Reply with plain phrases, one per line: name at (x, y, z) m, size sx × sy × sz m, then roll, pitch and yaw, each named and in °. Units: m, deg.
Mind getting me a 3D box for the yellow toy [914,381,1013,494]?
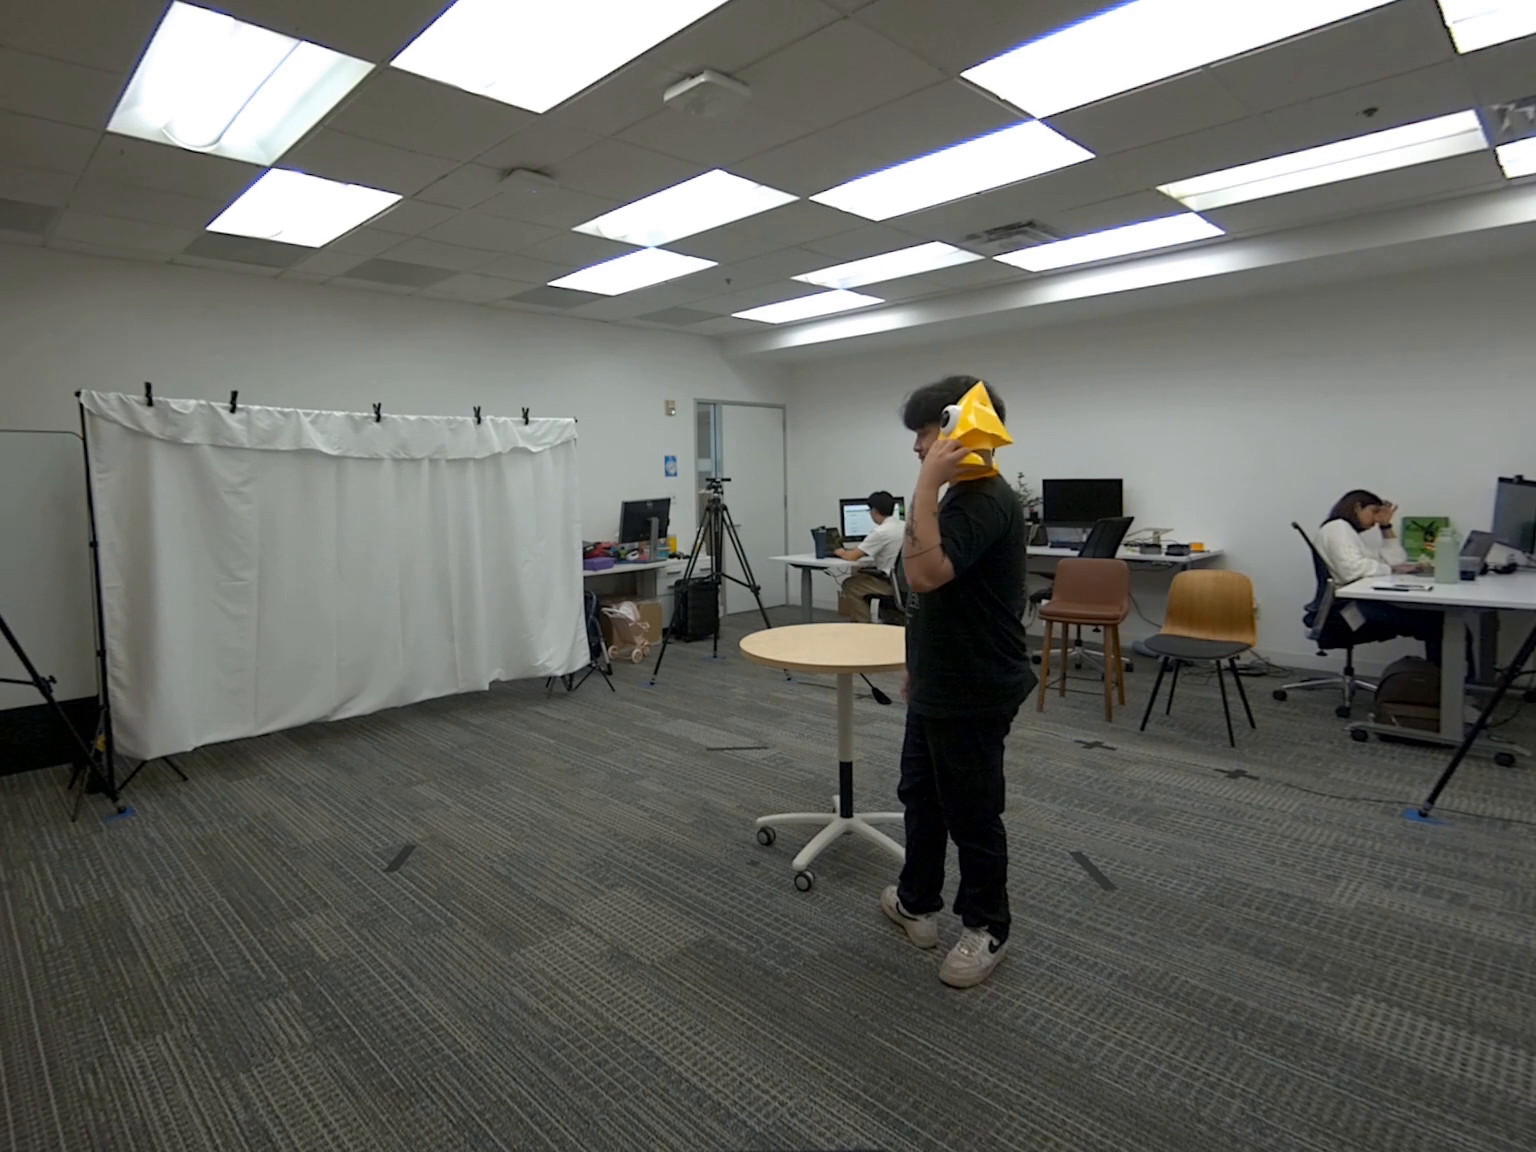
yellow toy at (0.506, -0.382, 2.236) m, size 0.198 × 0.233 × 0.198 m, roll 10°, pitch -14°, yaw -44°
